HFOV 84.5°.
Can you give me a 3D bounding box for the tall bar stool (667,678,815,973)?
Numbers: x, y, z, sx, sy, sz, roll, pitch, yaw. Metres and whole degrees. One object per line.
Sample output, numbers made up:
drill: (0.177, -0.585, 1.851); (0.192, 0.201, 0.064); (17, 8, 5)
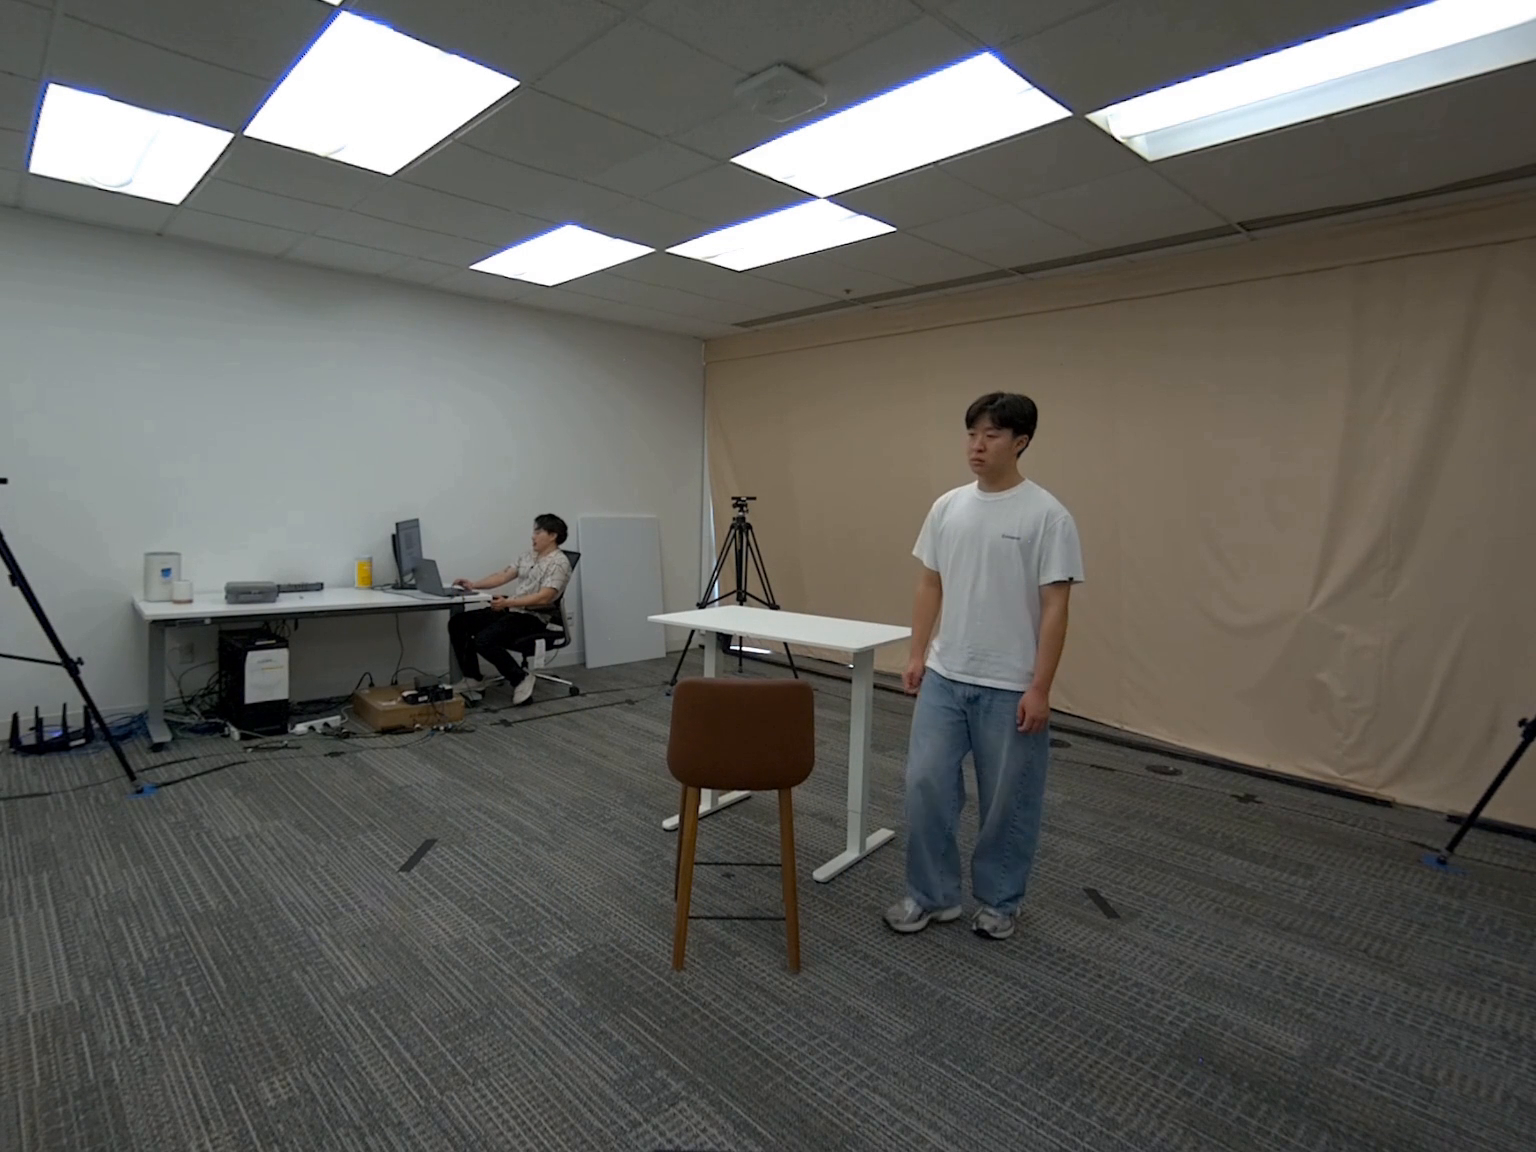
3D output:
tall bar stool: (-0.098, 0.713, 2.669); (0.455, 0.886, 0.470); (1, 5, -3)
